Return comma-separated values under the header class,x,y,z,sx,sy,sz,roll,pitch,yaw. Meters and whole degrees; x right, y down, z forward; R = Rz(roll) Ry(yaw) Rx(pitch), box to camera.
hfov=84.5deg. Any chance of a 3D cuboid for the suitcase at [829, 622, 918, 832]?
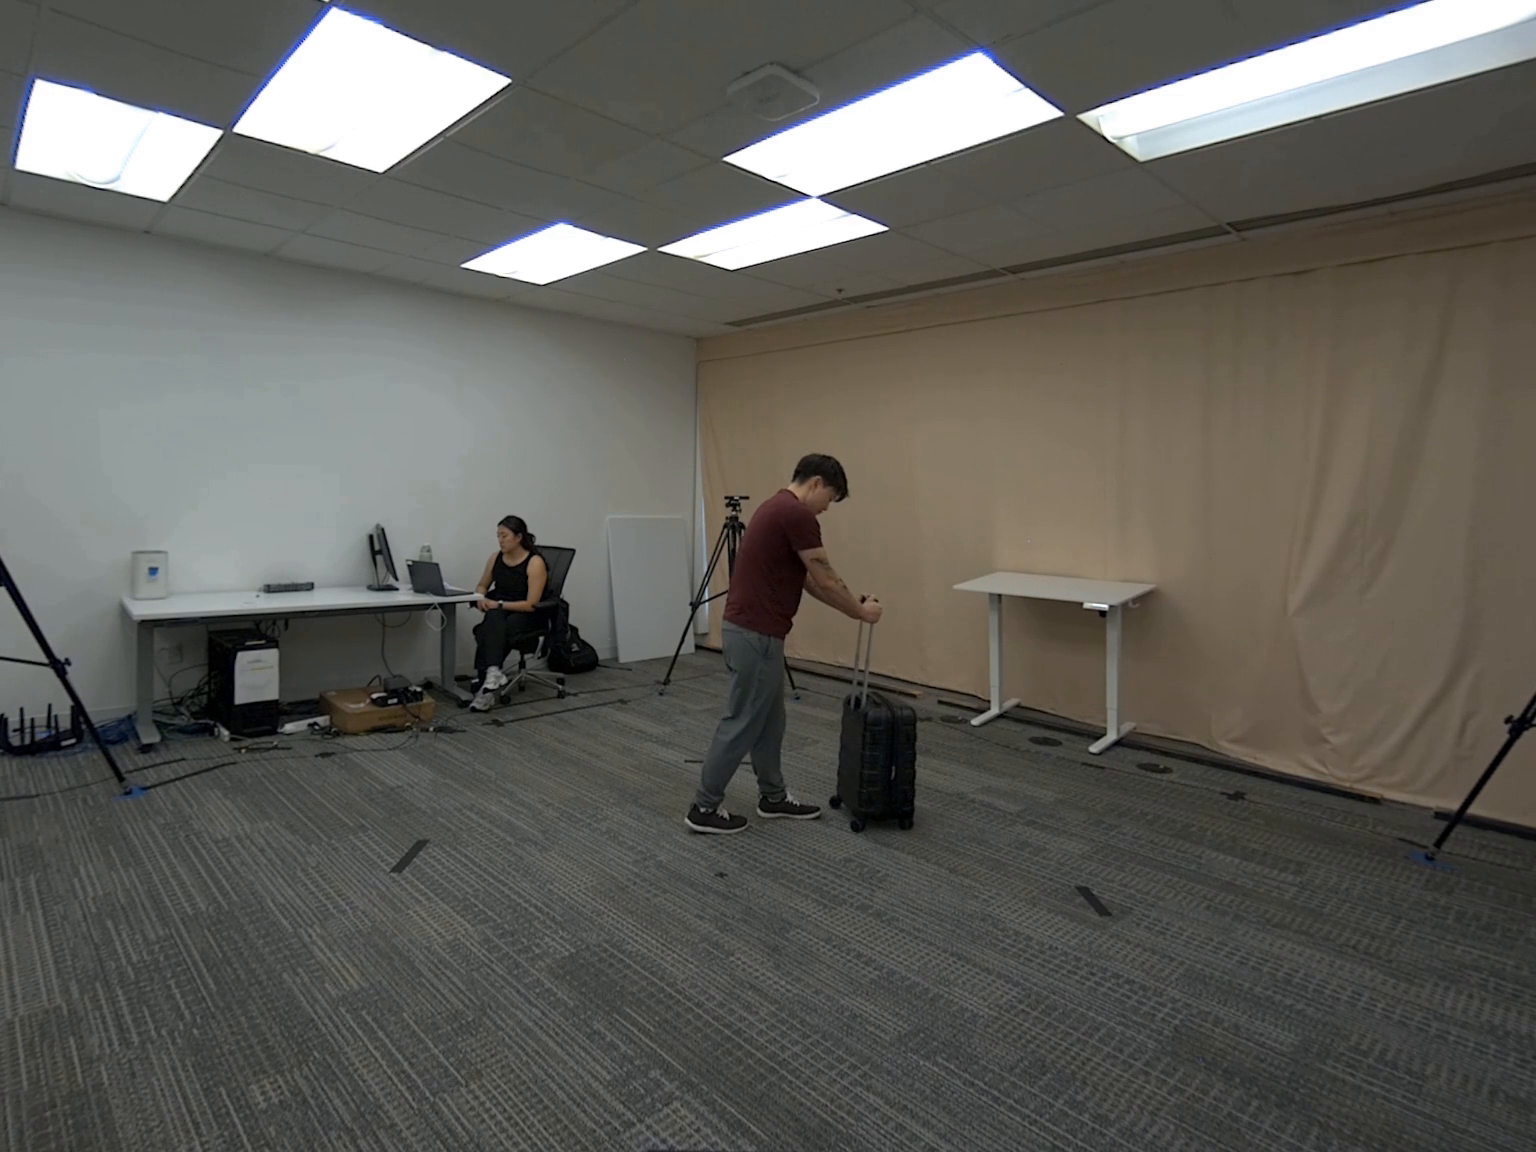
class,x,y,z,sx,sy,sz,roll,pitch,yaw
suitcase,0.485,0.591,3.686,0.255,0.976,0.388,5,4,-11
